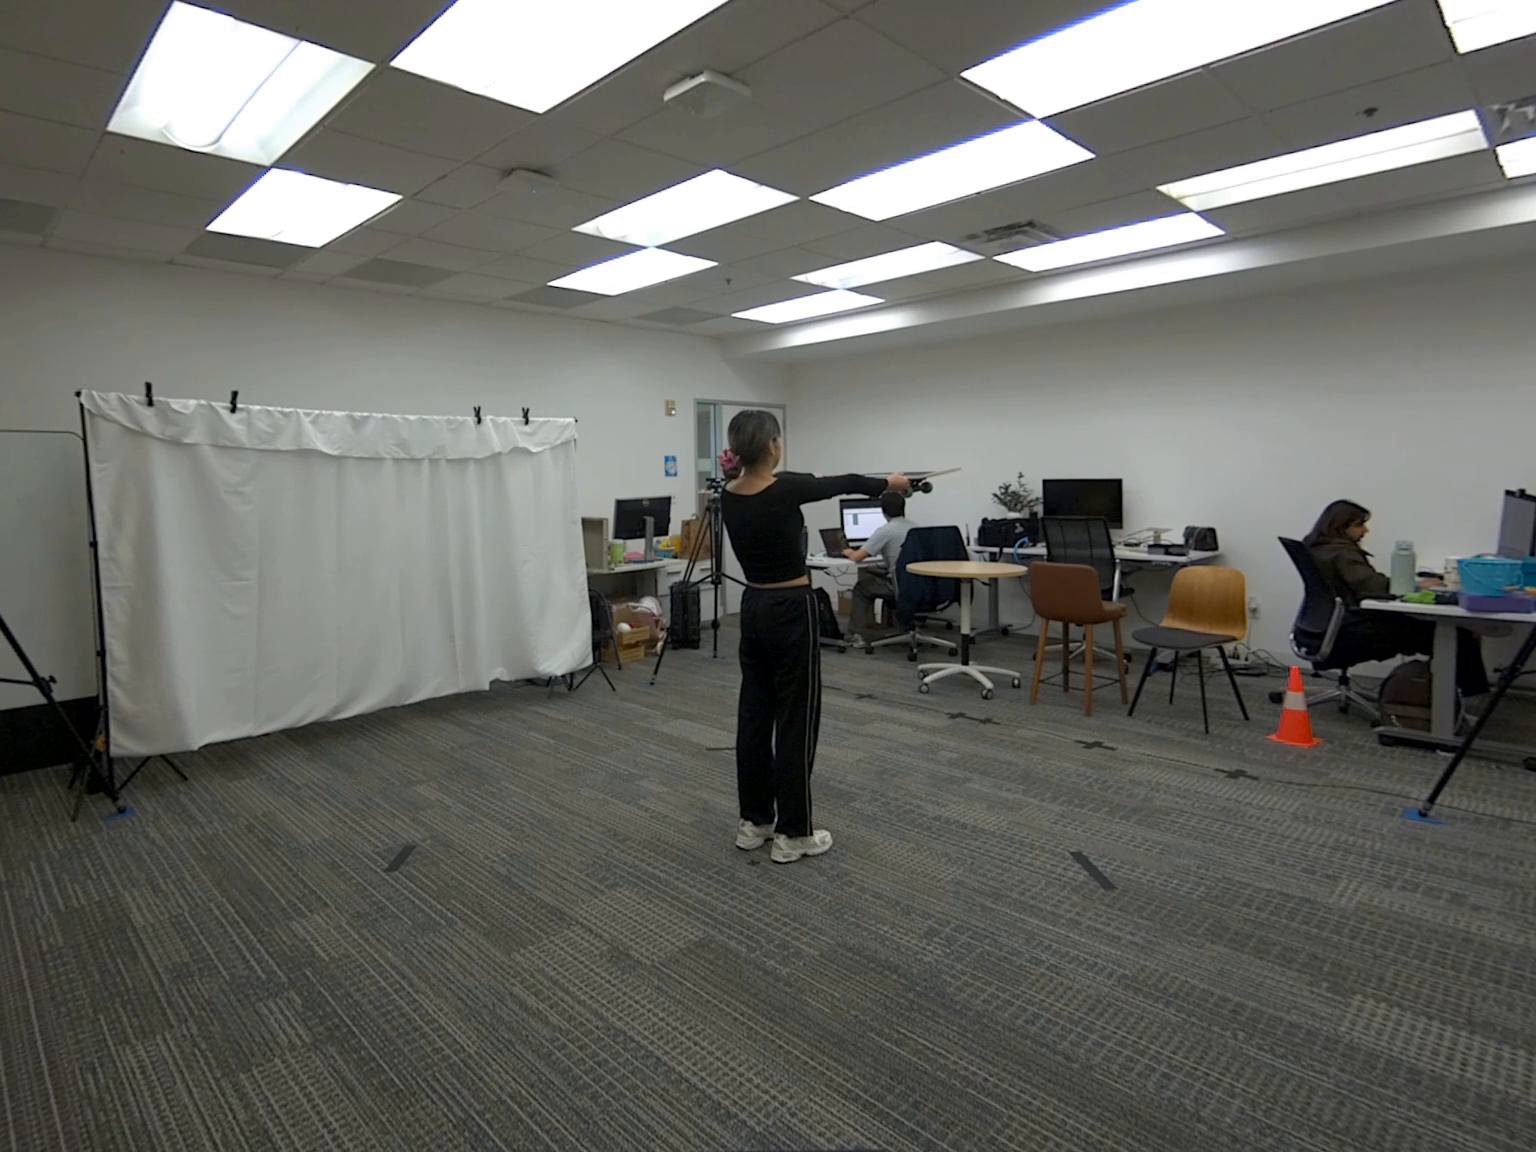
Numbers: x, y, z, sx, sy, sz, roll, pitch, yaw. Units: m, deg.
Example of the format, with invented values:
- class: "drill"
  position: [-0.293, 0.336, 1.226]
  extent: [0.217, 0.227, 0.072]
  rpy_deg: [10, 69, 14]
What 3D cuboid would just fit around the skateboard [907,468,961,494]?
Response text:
- class: "skateboard"
  position: [0.459, -0.393, 3.639]
  extent: [0.809, 0.109, 0.189]
  rpy_deg: [4, 14, 44]
